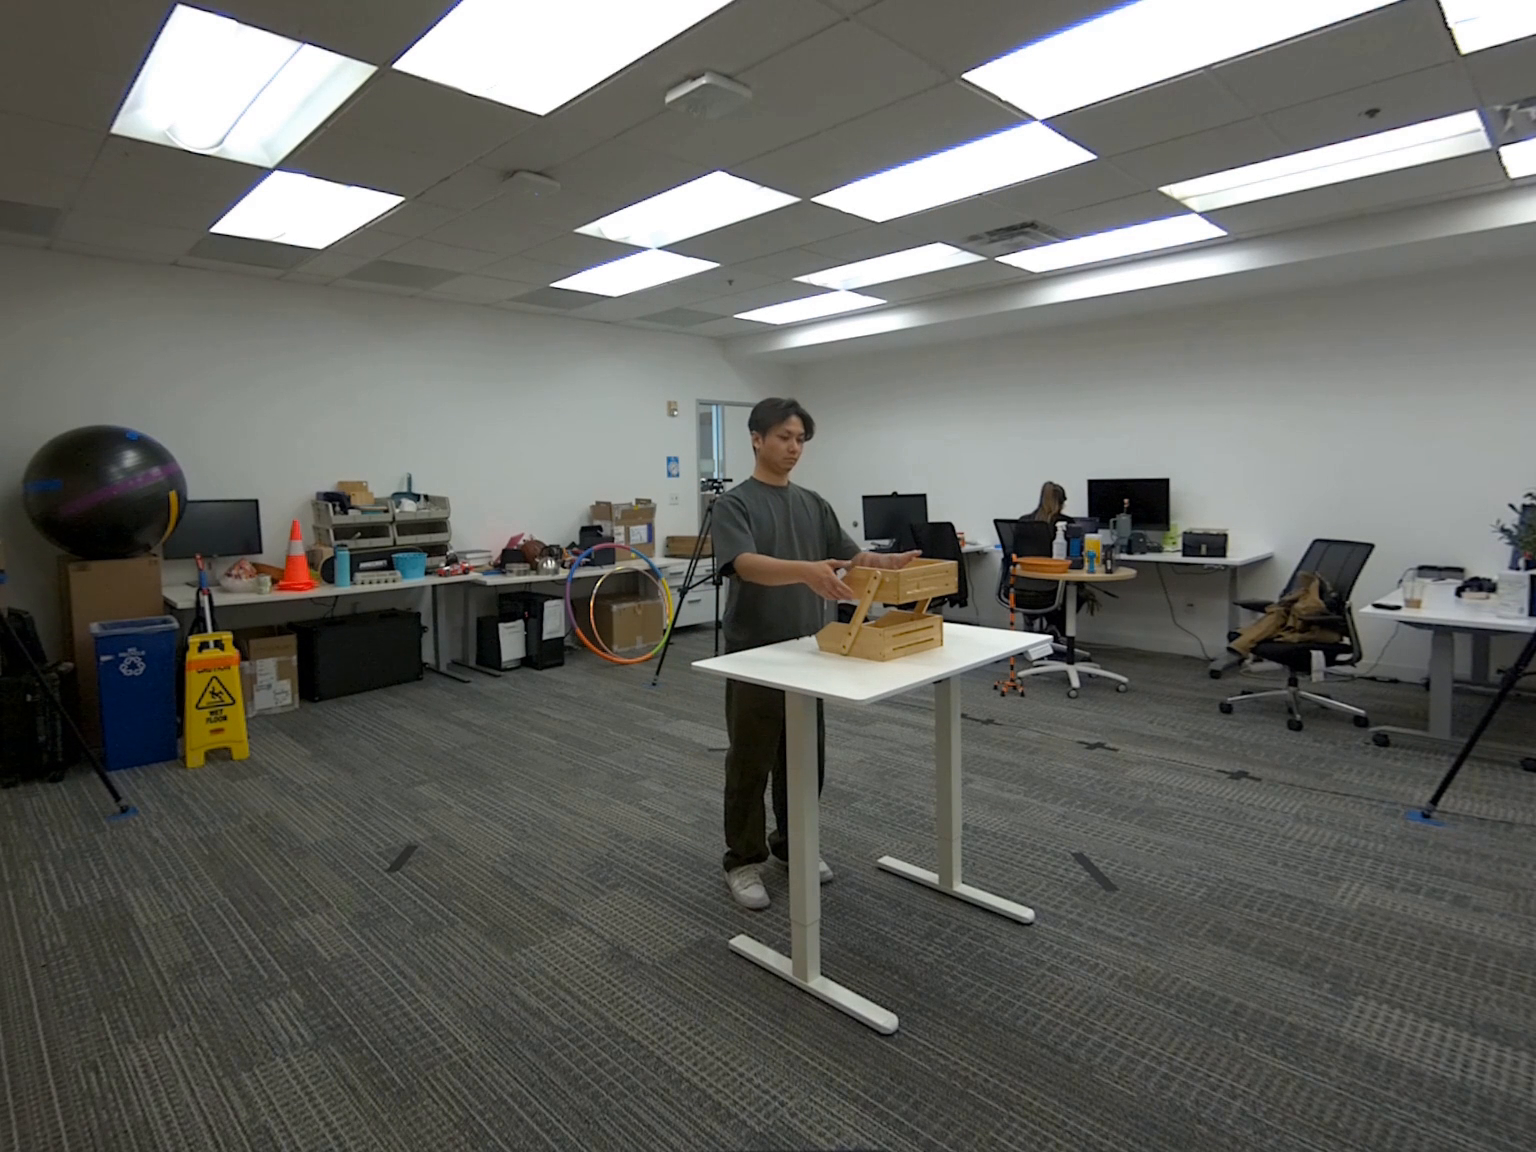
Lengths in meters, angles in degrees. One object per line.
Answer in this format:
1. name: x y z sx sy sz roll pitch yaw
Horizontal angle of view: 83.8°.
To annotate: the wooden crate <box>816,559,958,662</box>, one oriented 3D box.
1. wooden crate: 0.360 0.090 2.538 0.316 0.272 0.311 -7 9 -44
